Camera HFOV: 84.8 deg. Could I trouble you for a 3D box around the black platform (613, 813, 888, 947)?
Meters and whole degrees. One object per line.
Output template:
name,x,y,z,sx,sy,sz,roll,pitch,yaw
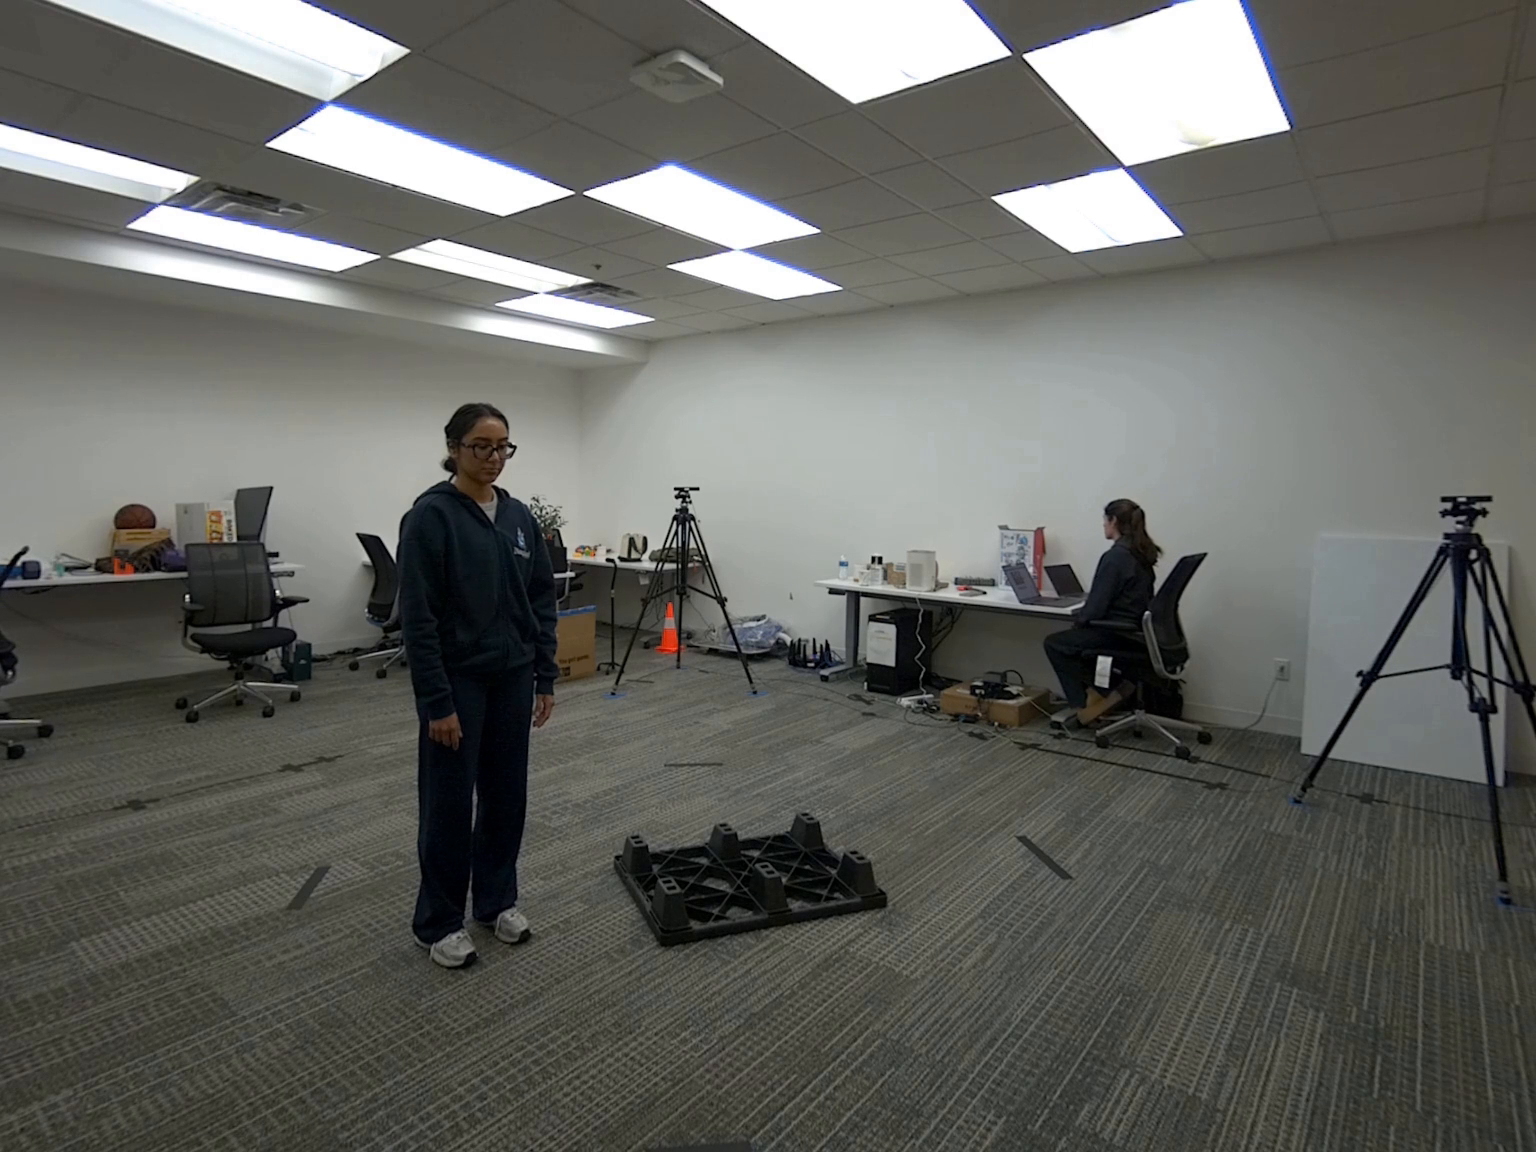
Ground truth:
black platform,-0.088,1.011,2.981,0.788,0.143,0.621,-1,6,-23
